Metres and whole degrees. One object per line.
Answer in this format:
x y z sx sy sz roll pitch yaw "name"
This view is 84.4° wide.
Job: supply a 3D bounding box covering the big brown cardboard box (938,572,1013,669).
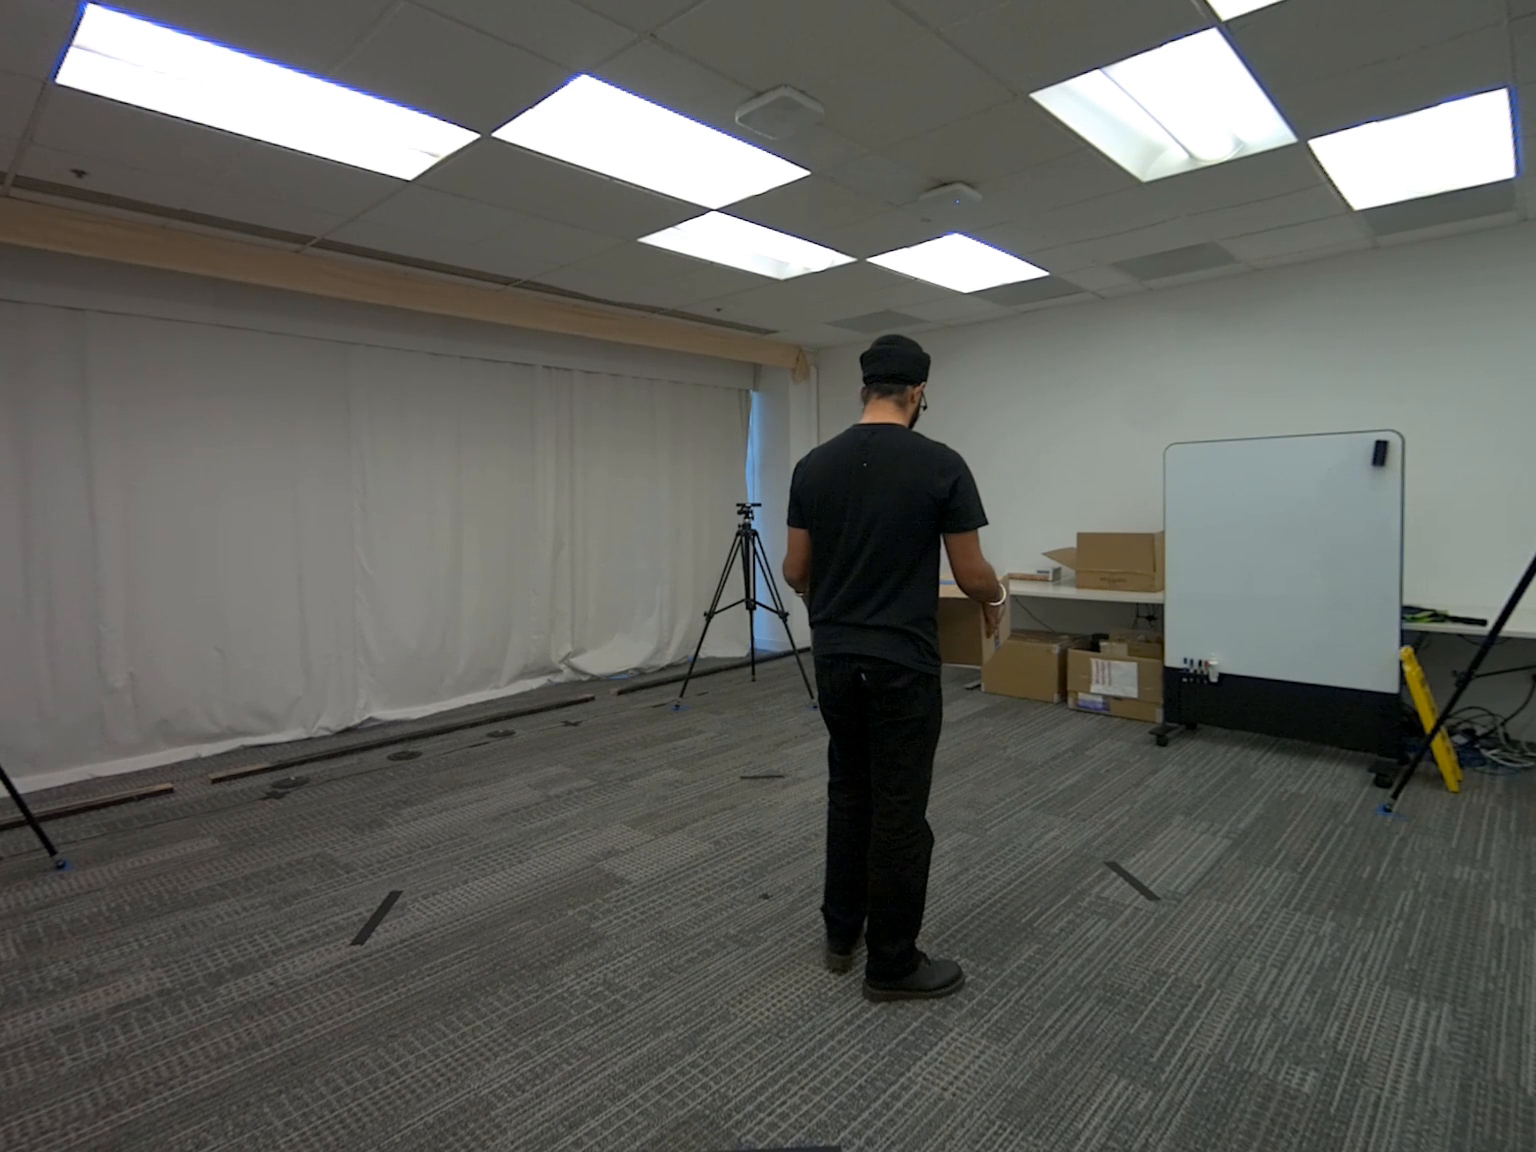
0.480 0.126 2.849 0.605 0.232 0.408 2 10 28 "big brown cardboard box"
